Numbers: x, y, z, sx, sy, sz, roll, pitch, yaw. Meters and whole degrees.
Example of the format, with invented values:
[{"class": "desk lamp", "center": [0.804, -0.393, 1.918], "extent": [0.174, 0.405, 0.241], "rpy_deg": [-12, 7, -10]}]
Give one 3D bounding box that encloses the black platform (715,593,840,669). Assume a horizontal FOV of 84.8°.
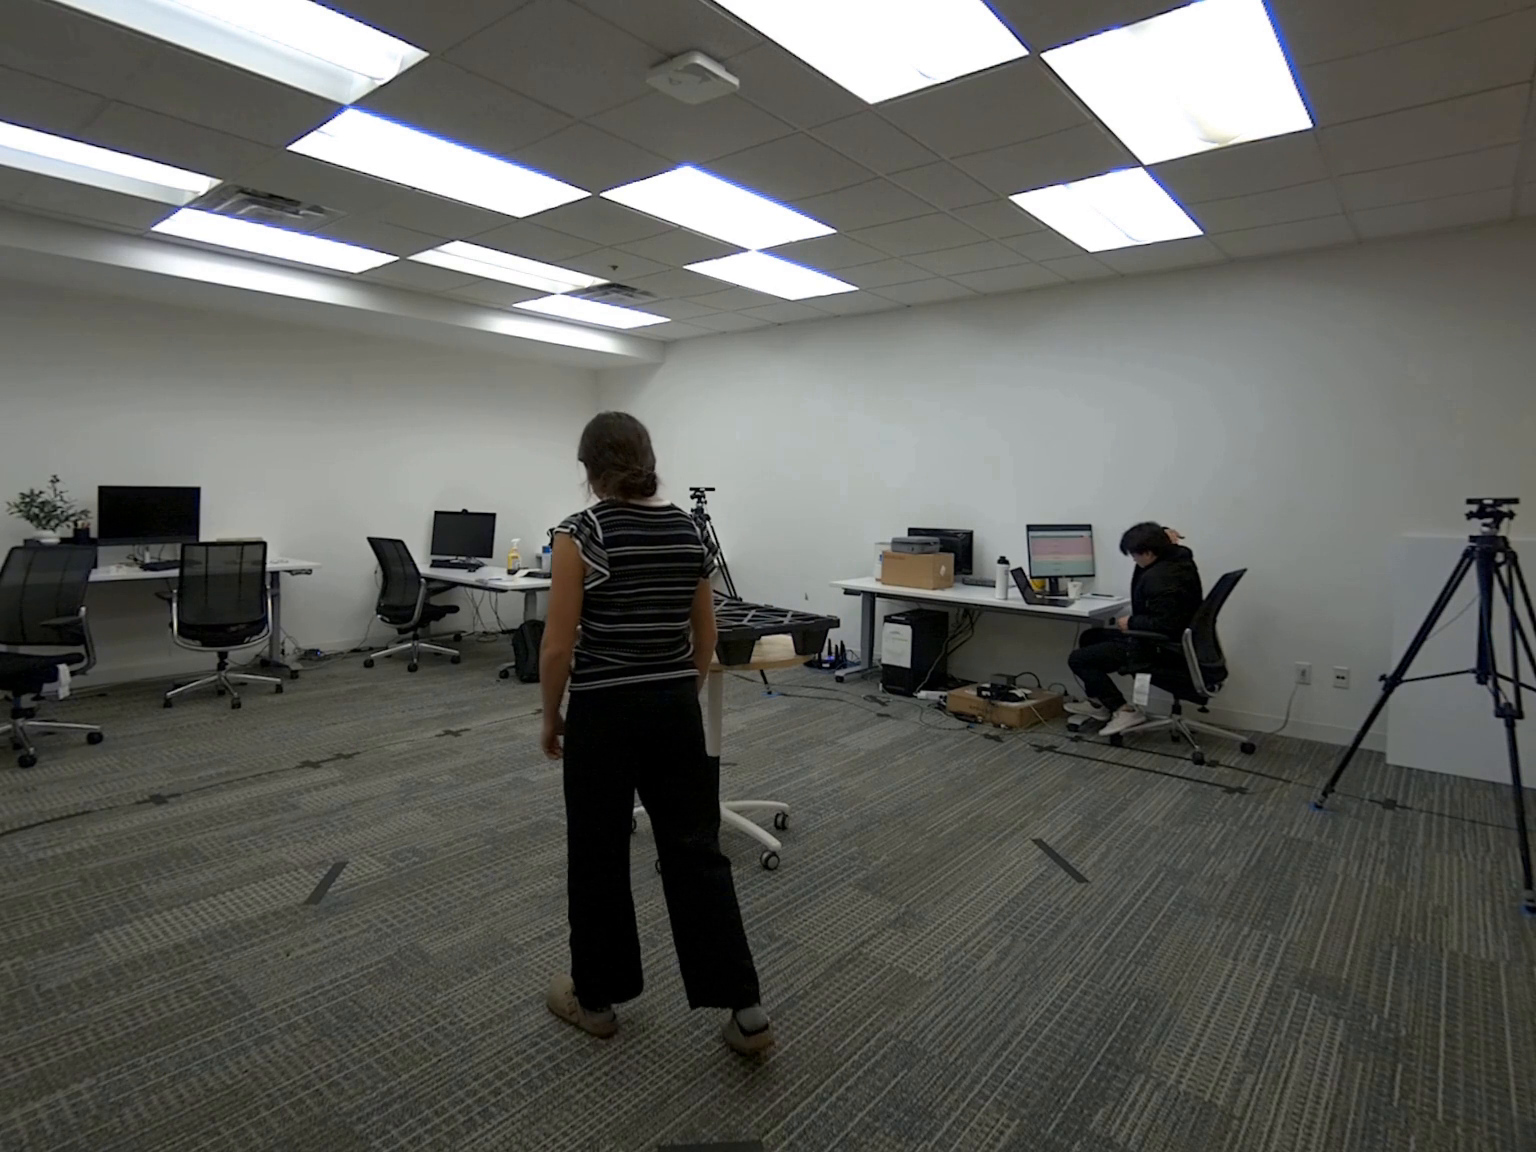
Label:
[{"class": "black platform", "center": [-0.229, 0.202, 3.321], "extent": [0.586, 0.143, 0.833], "rpy_deg": [-2, 6, -42]}]
